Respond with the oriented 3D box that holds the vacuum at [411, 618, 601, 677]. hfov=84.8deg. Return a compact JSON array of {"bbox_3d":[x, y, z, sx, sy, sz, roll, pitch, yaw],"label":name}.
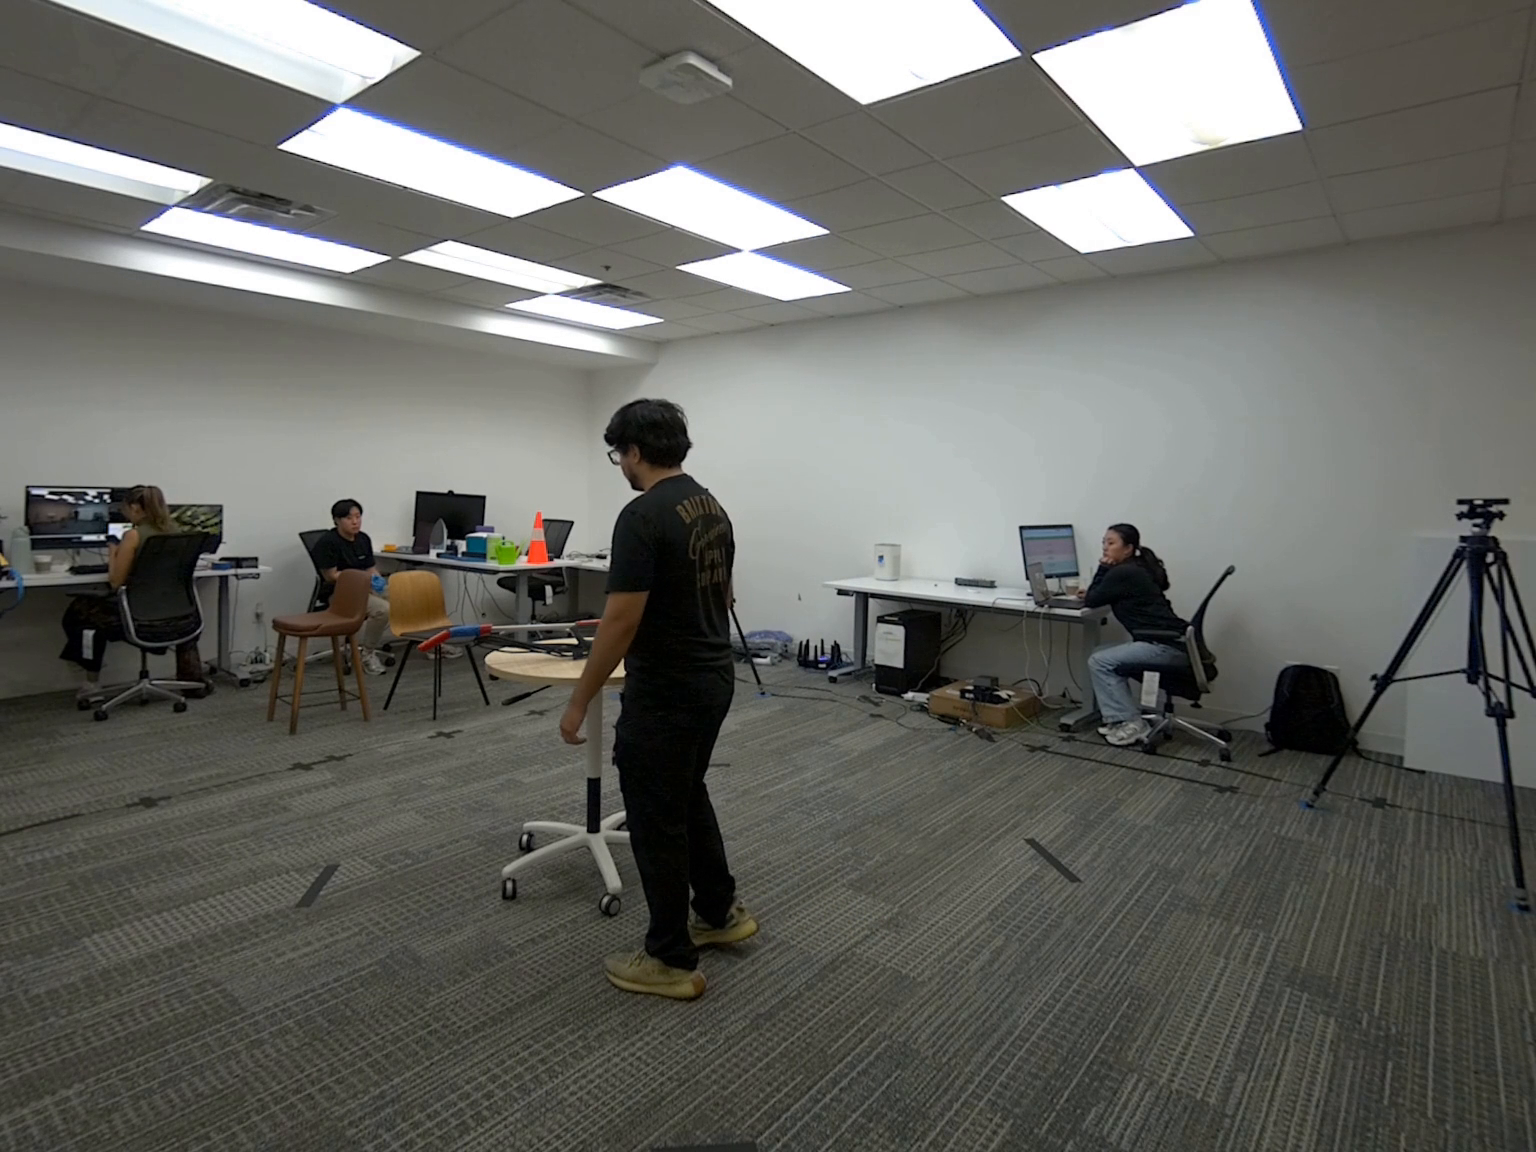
[{"bbox_3d":[-0.708,0.233,3.016,1.019,0.144,0.259,-1,-1,-33],"label":"vacuum"}]
